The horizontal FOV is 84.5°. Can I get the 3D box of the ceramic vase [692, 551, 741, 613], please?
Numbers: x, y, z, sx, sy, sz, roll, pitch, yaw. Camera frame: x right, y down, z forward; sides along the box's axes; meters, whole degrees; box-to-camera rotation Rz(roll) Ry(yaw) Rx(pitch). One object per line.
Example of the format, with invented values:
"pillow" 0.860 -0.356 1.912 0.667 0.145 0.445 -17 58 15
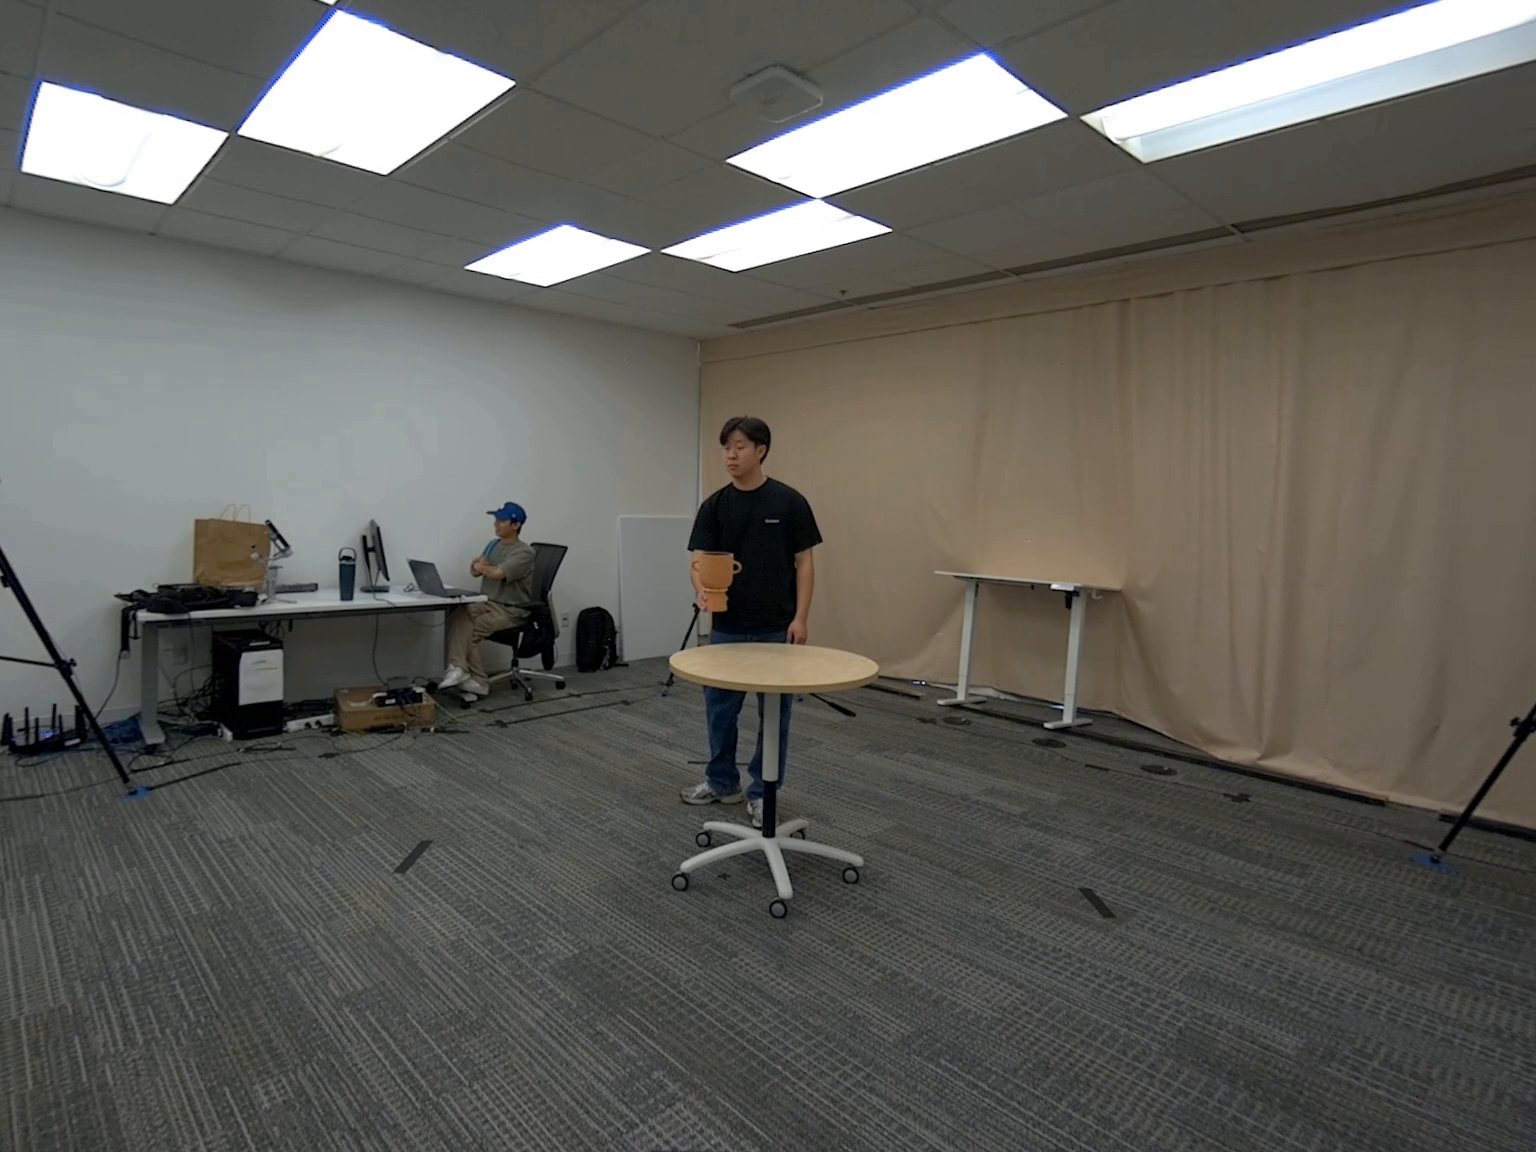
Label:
"ceramic vase" -0.223 0.023 3.305 0.131 0.219 0.163 -3 8 -43
